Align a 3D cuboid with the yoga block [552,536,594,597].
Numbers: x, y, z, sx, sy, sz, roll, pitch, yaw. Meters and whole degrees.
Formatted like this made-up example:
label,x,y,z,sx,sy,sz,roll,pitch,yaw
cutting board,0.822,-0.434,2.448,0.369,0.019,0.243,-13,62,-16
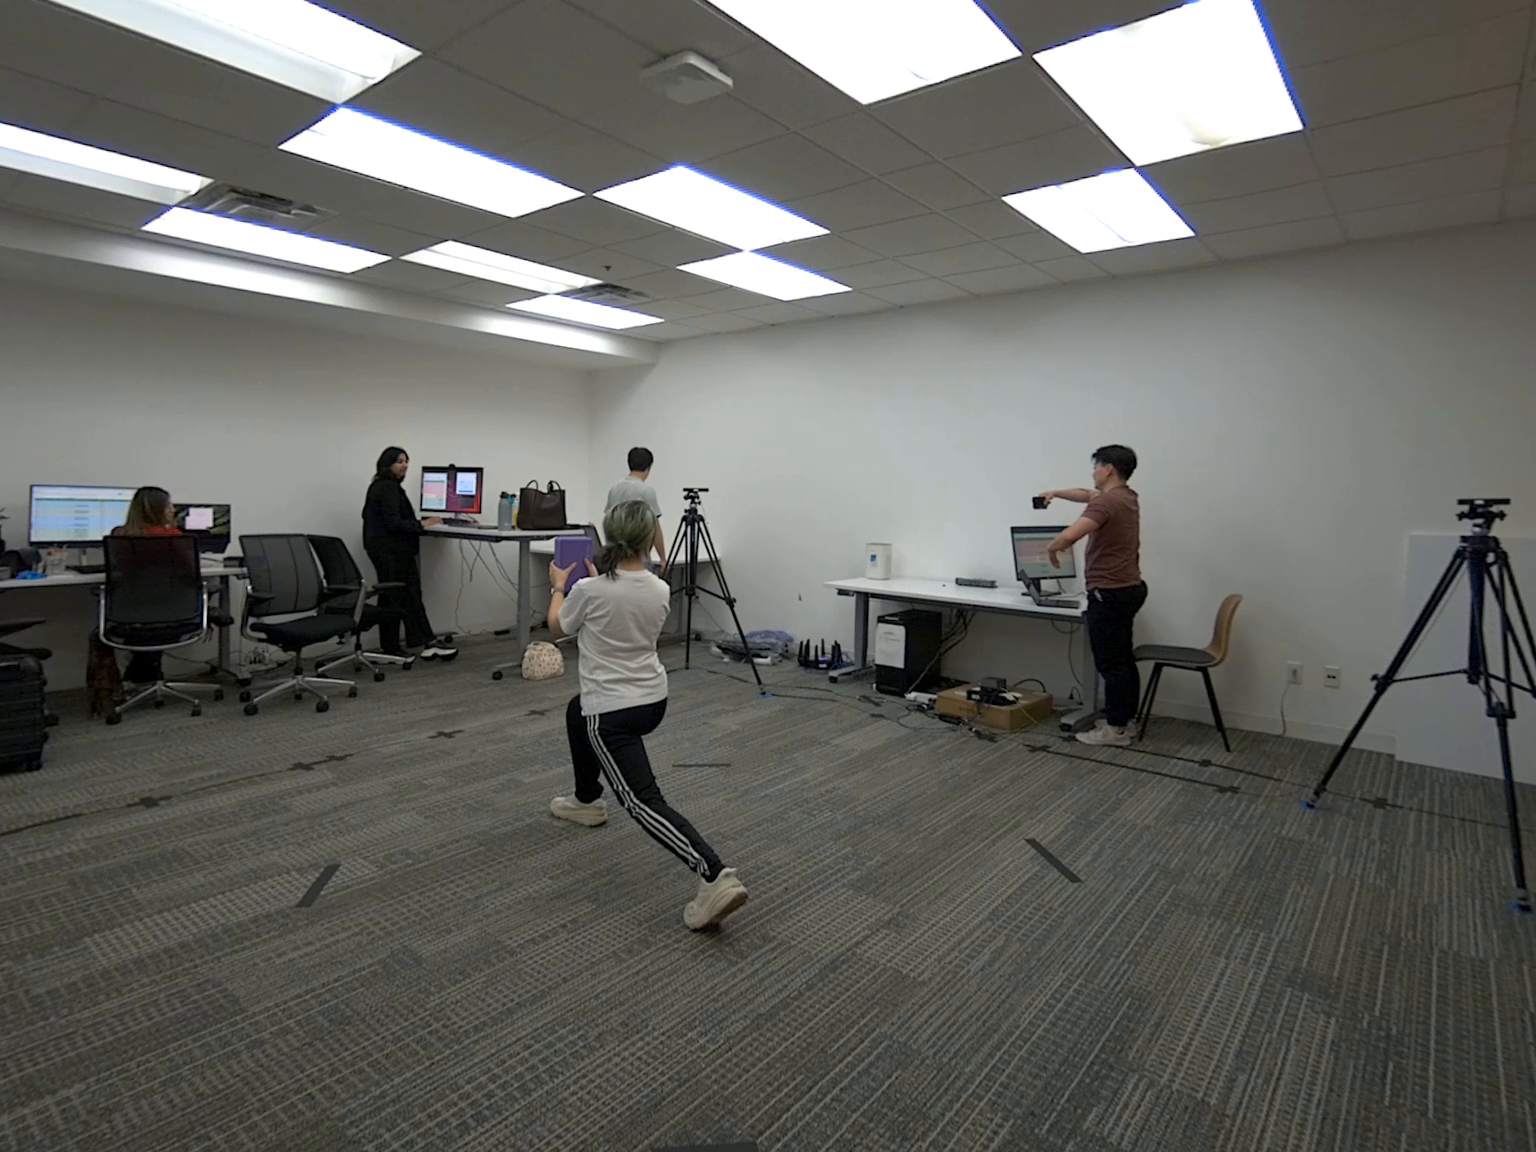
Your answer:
label,x,y,z,sx,sy,sz,roll,pitch,yaw
yoga block,-0.835,-0.051,3.583,0.144,0.229,0.079,1,4,-35
